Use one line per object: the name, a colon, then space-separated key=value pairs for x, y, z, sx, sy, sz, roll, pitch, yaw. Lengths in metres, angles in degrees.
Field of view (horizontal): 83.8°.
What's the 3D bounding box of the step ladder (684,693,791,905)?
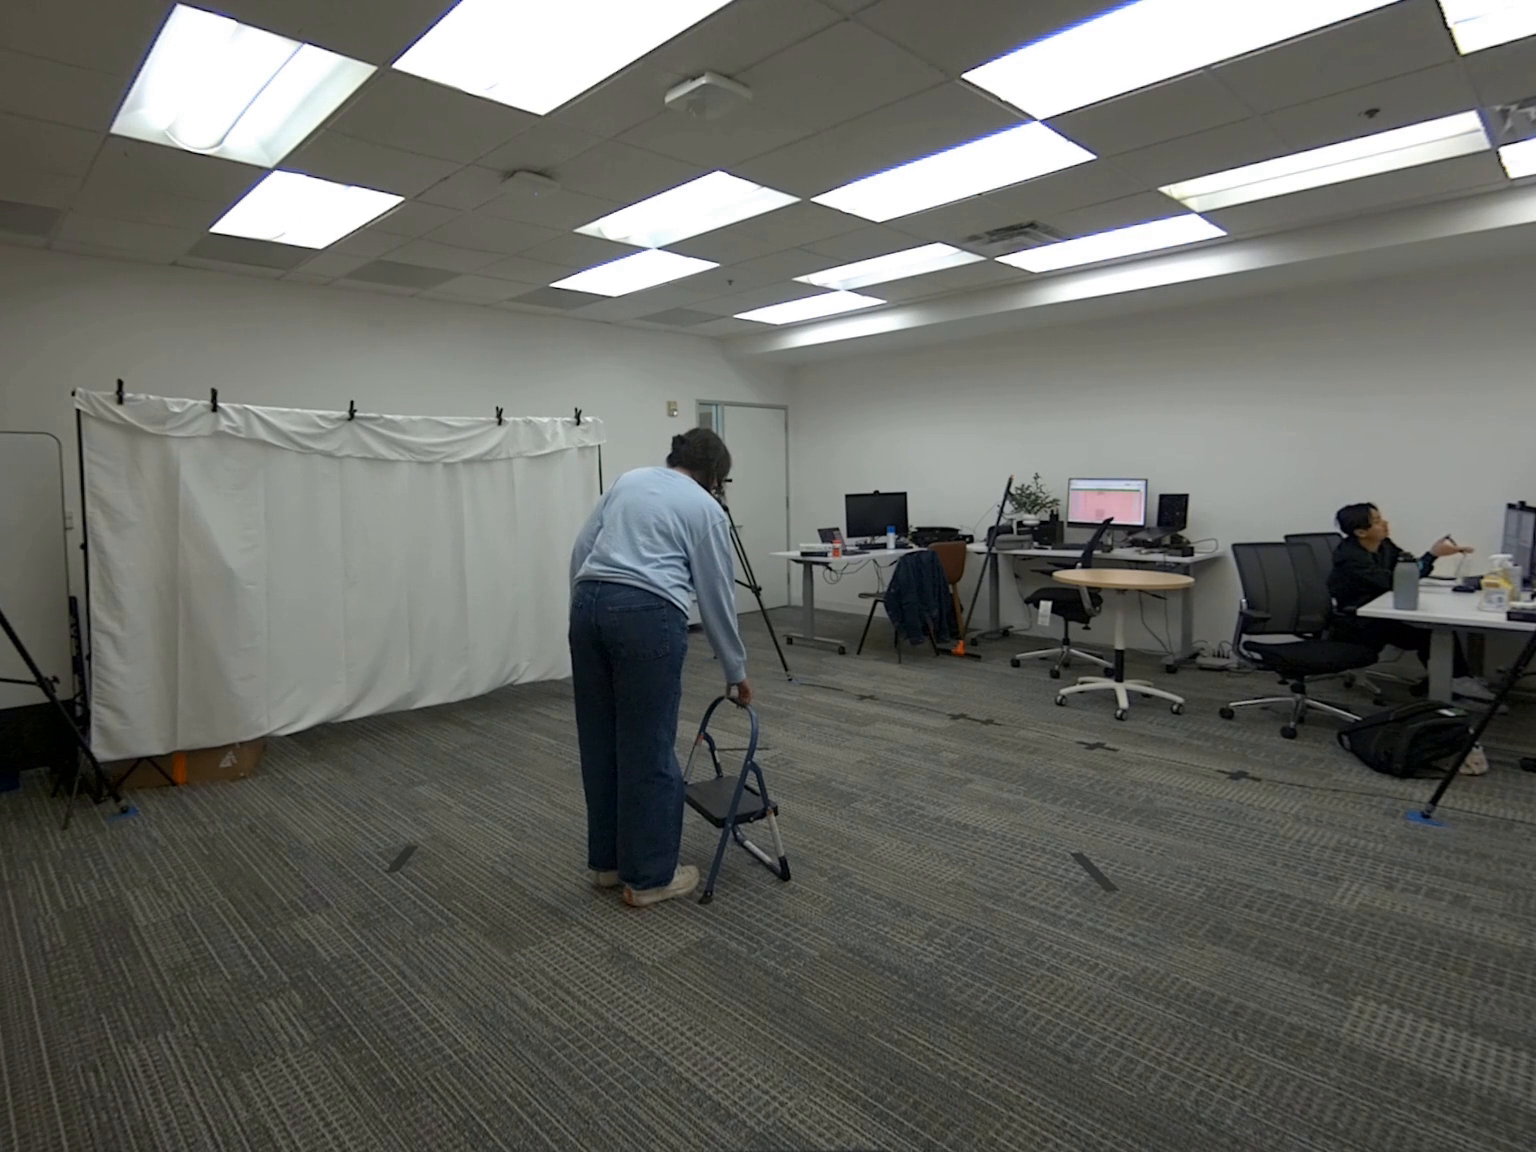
step ladder: x=-0.168 y=0.748 z=3.055 sx=0.341 sy=0.603 sz=0.442 roll=-4 pitch=6 yaw=-28
